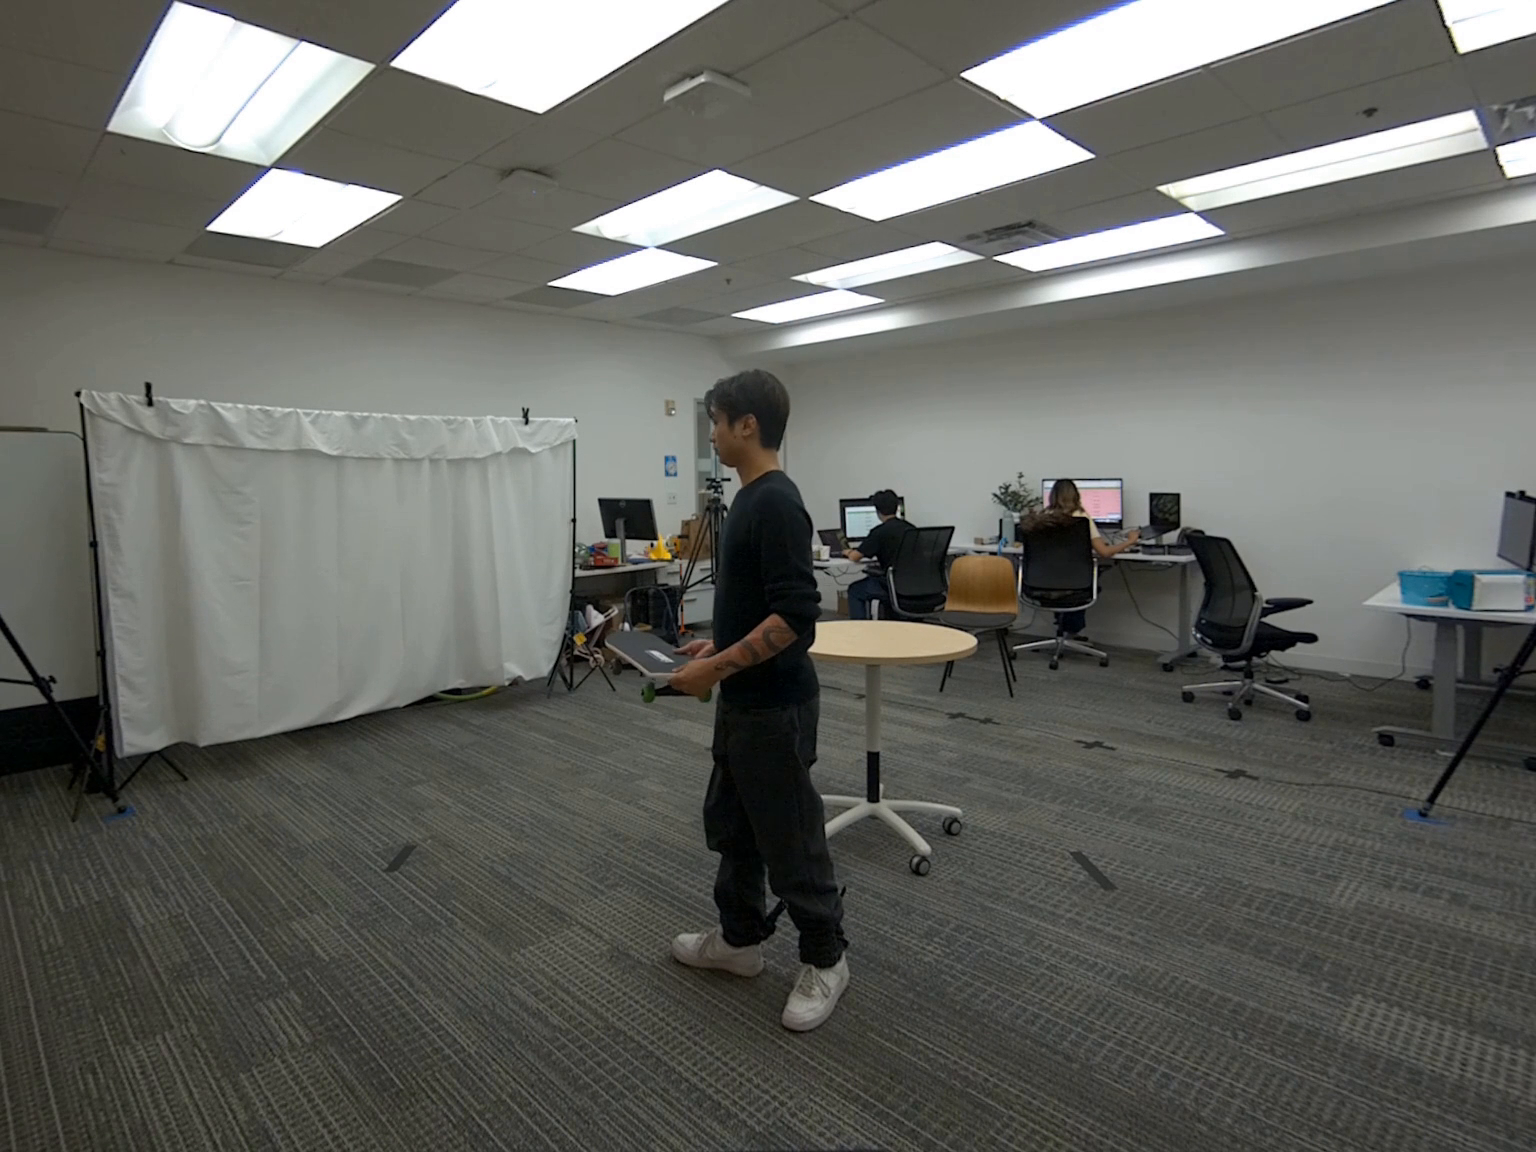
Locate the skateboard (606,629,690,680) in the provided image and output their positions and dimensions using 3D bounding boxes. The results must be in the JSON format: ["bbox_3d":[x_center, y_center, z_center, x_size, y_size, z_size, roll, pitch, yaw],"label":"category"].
[{"bbox_3d":[-0.303,0.269,2.397,0.190,0.110,0.800,1,3,-19],"label":"skateboard"}]
